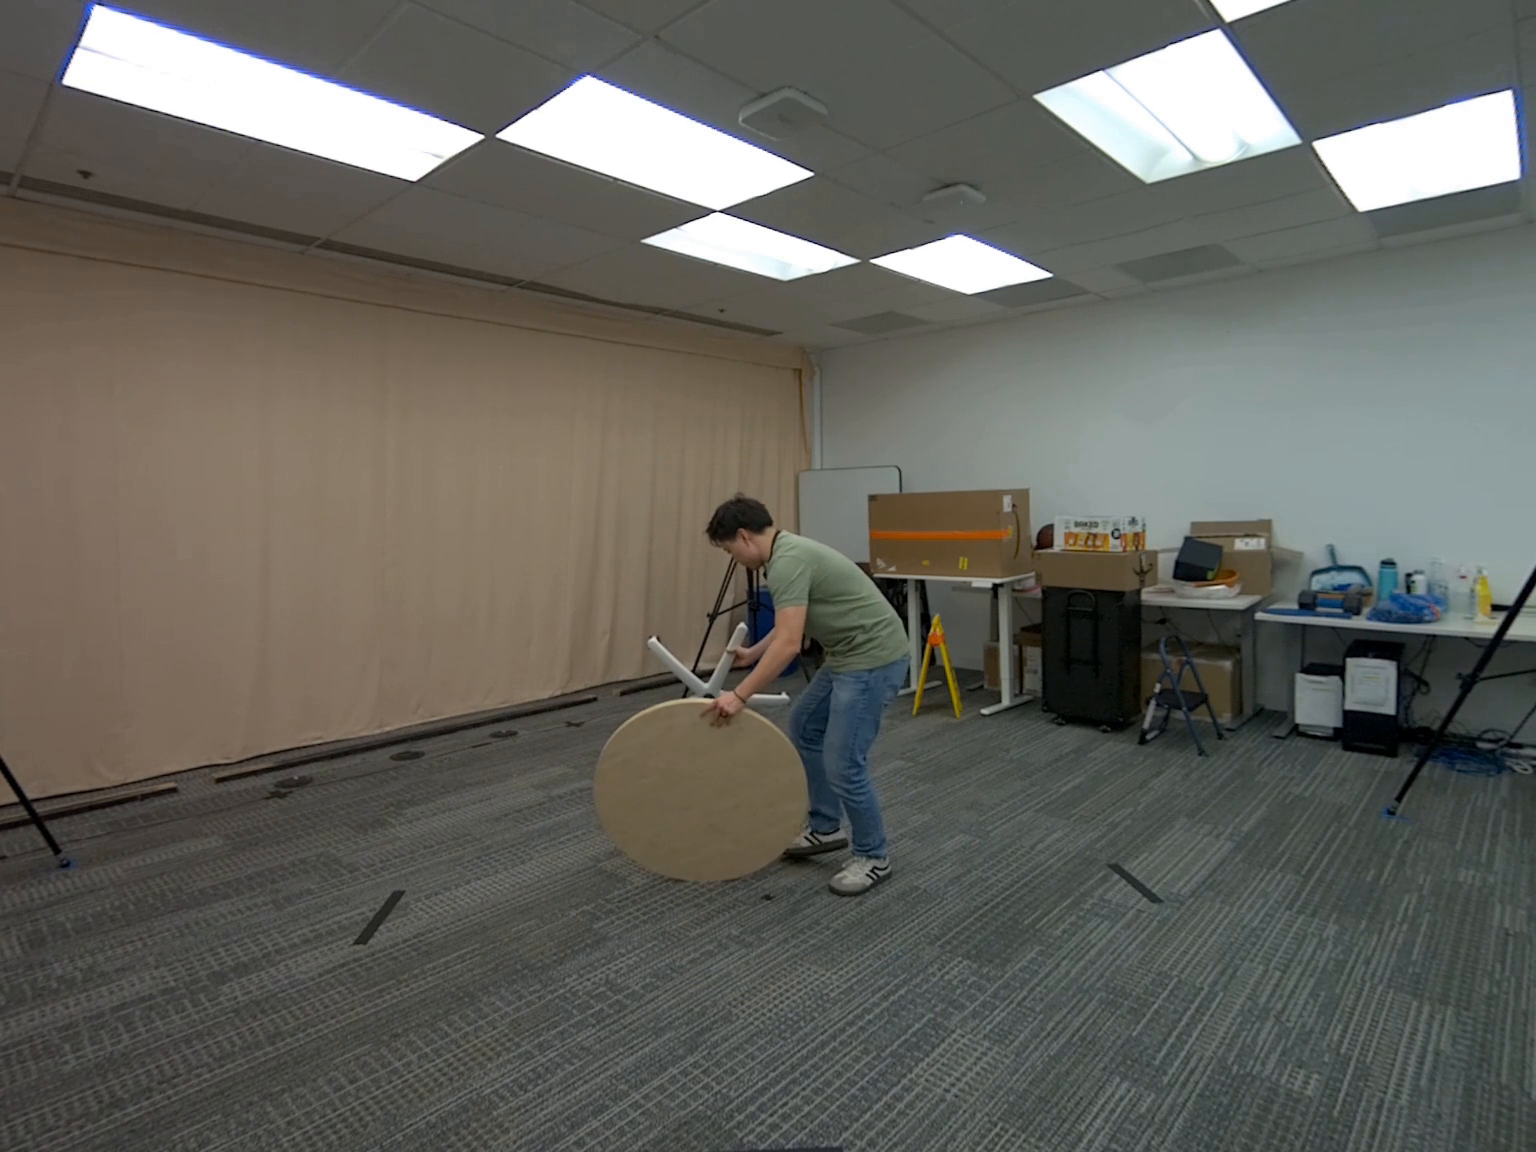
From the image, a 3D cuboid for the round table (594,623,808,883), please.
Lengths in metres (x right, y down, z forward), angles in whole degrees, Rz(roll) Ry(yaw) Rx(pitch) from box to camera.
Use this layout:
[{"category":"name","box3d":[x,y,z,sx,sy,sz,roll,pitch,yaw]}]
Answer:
[{"category":"round table","box3d":[-0.252,0.632,3.365,0.765,0.754,0.803,-1,21,1]}]
